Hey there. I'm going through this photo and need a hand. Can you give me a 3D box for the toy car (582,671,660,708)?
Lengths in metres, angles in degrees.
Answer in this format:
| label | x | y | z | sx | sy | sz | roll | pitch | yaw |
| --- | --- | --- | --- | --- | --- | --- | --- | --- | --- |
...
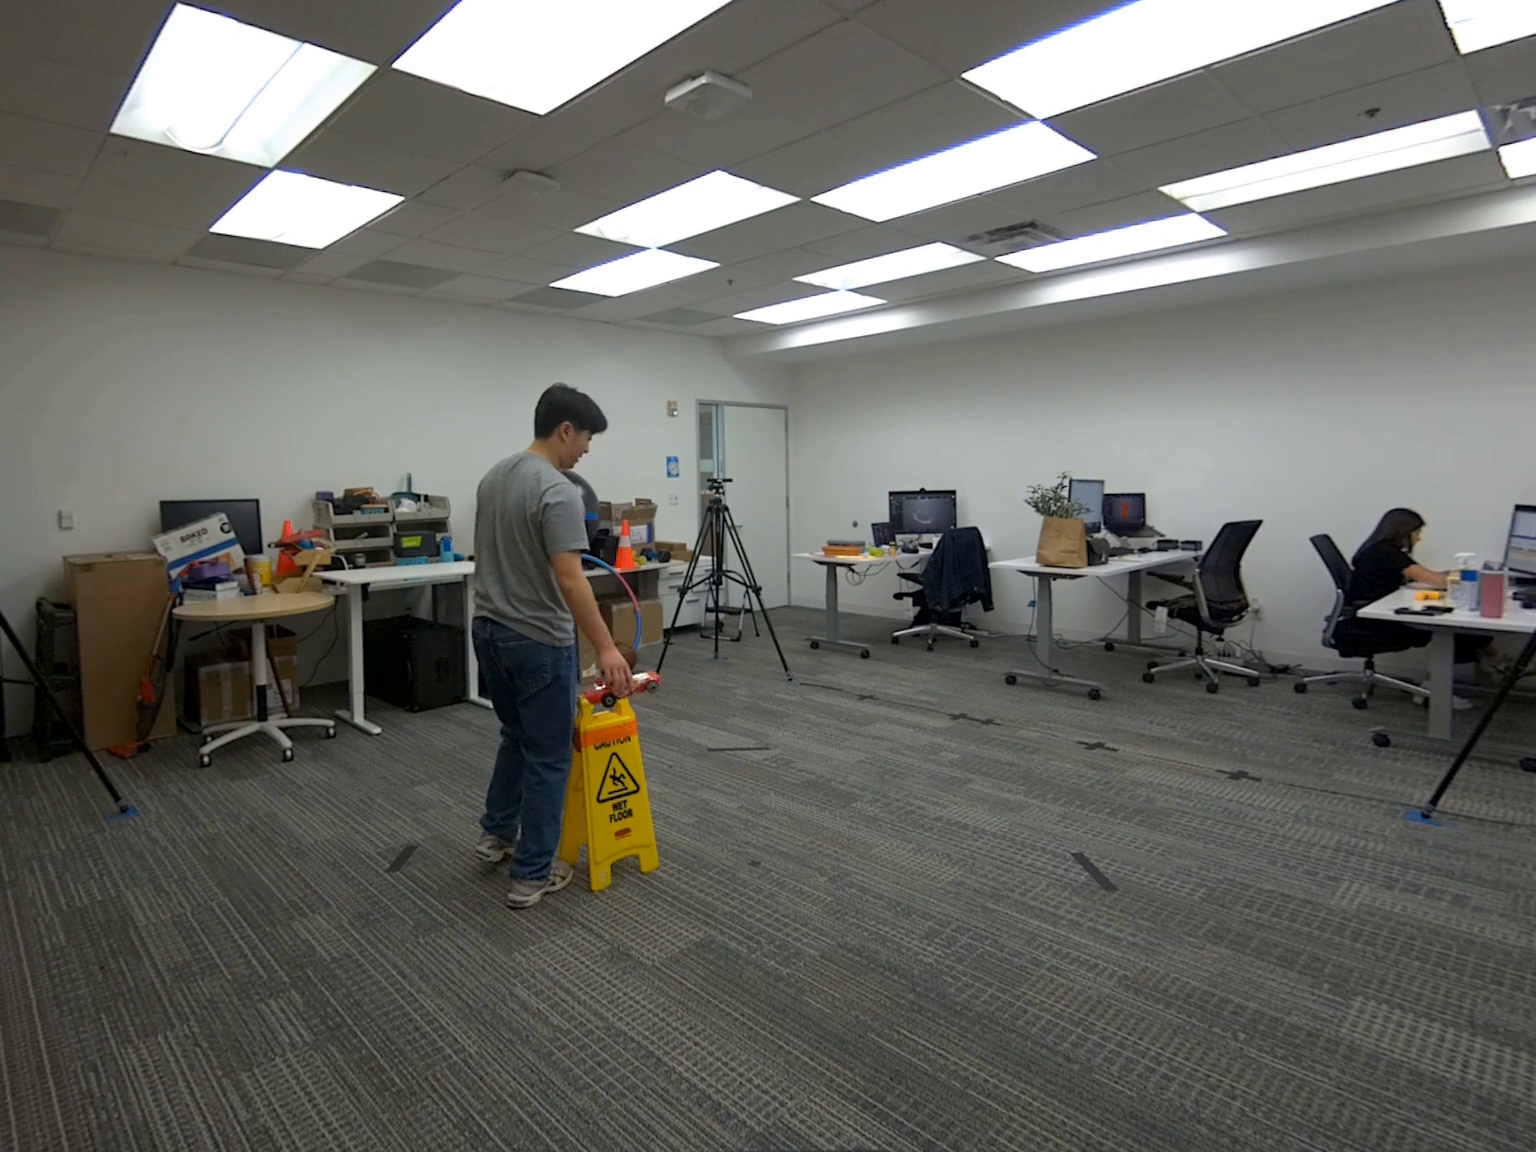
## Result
| label | x | y | z | sx | sy | sz | roll | pitch | yaw |
| --- | --- | --- | --- | --- | --- | --- | --- | --- | --- |
| toy car | -0.488 | 0.370 | 2.751 | 0.251 | 0.082 | 0.133 | -5 | 8 | -15 |
